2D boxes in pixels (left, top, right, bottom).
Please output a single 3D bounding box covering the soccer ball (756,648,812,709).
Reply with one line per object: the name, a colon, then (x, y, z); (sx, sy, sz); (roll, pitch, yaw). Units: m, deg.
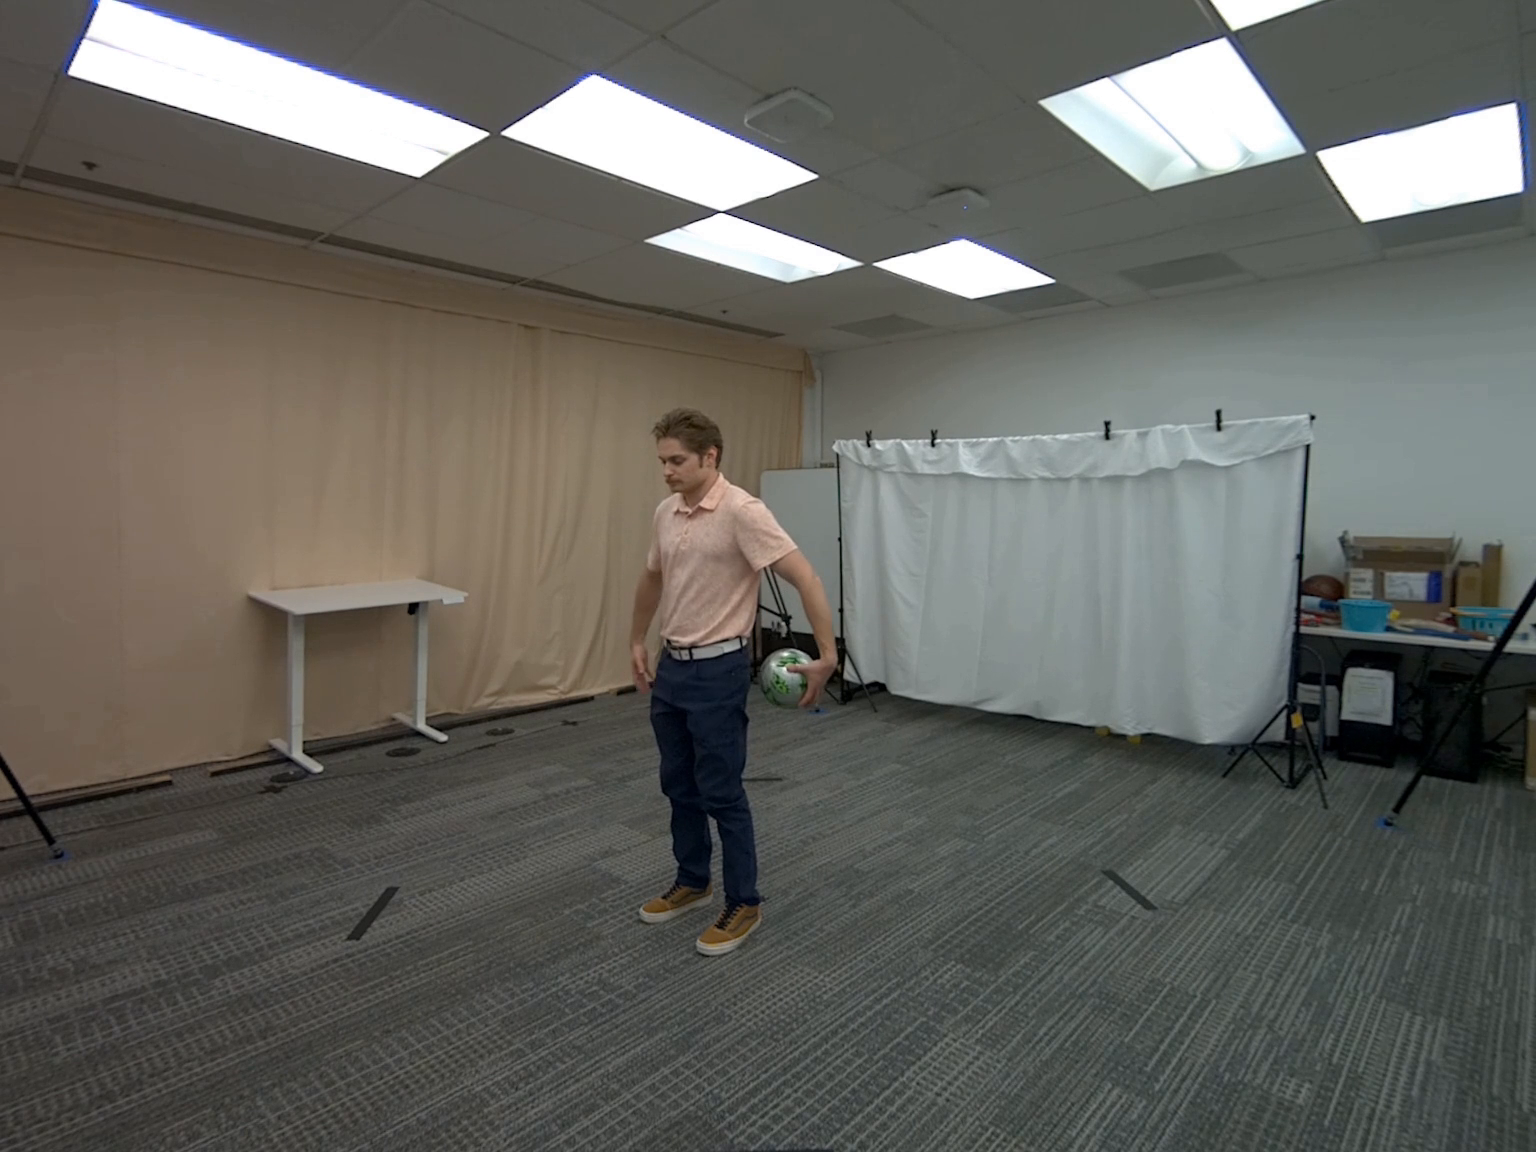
soccer ball: (0.048, 0.310, 2.622); (0.187, 0.187, 0.188); (0, 4, -2)
